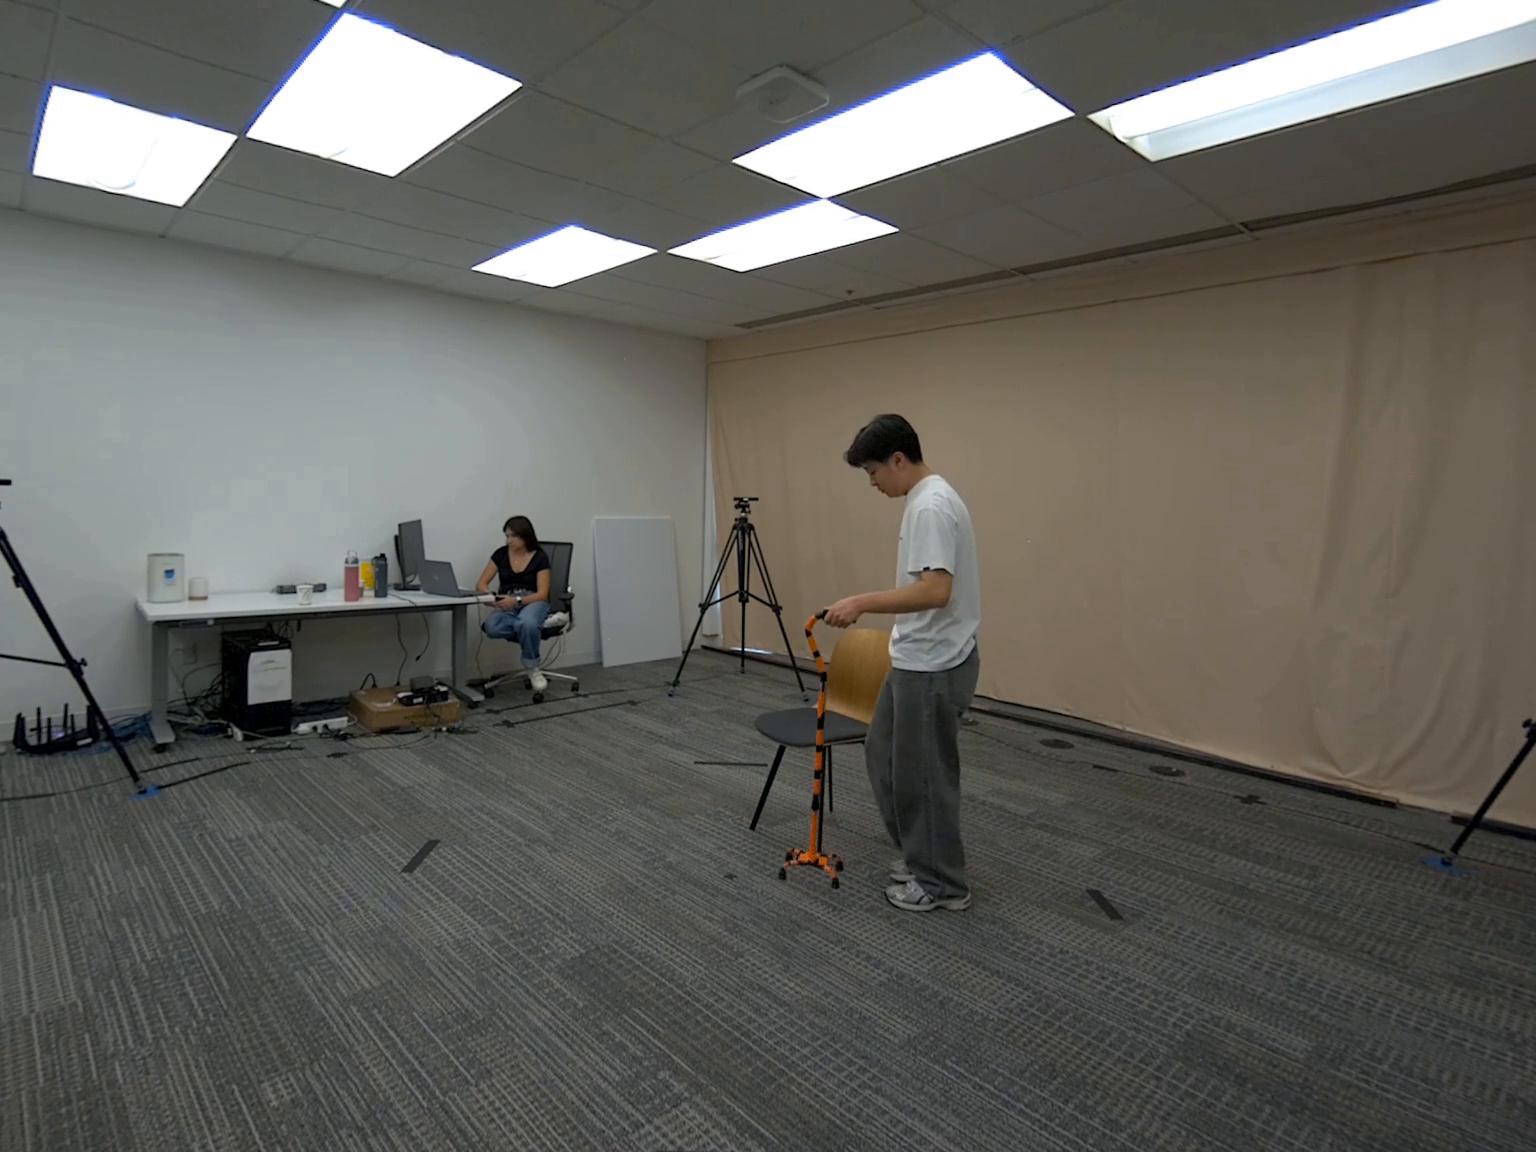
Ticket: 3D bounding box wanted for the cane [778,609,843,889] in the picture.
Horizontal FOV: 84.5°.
[{"bbox_3d":[0.175,0.577,2.794,0.209,0.904,0.150,5,7,17],"label":"cane"}]
